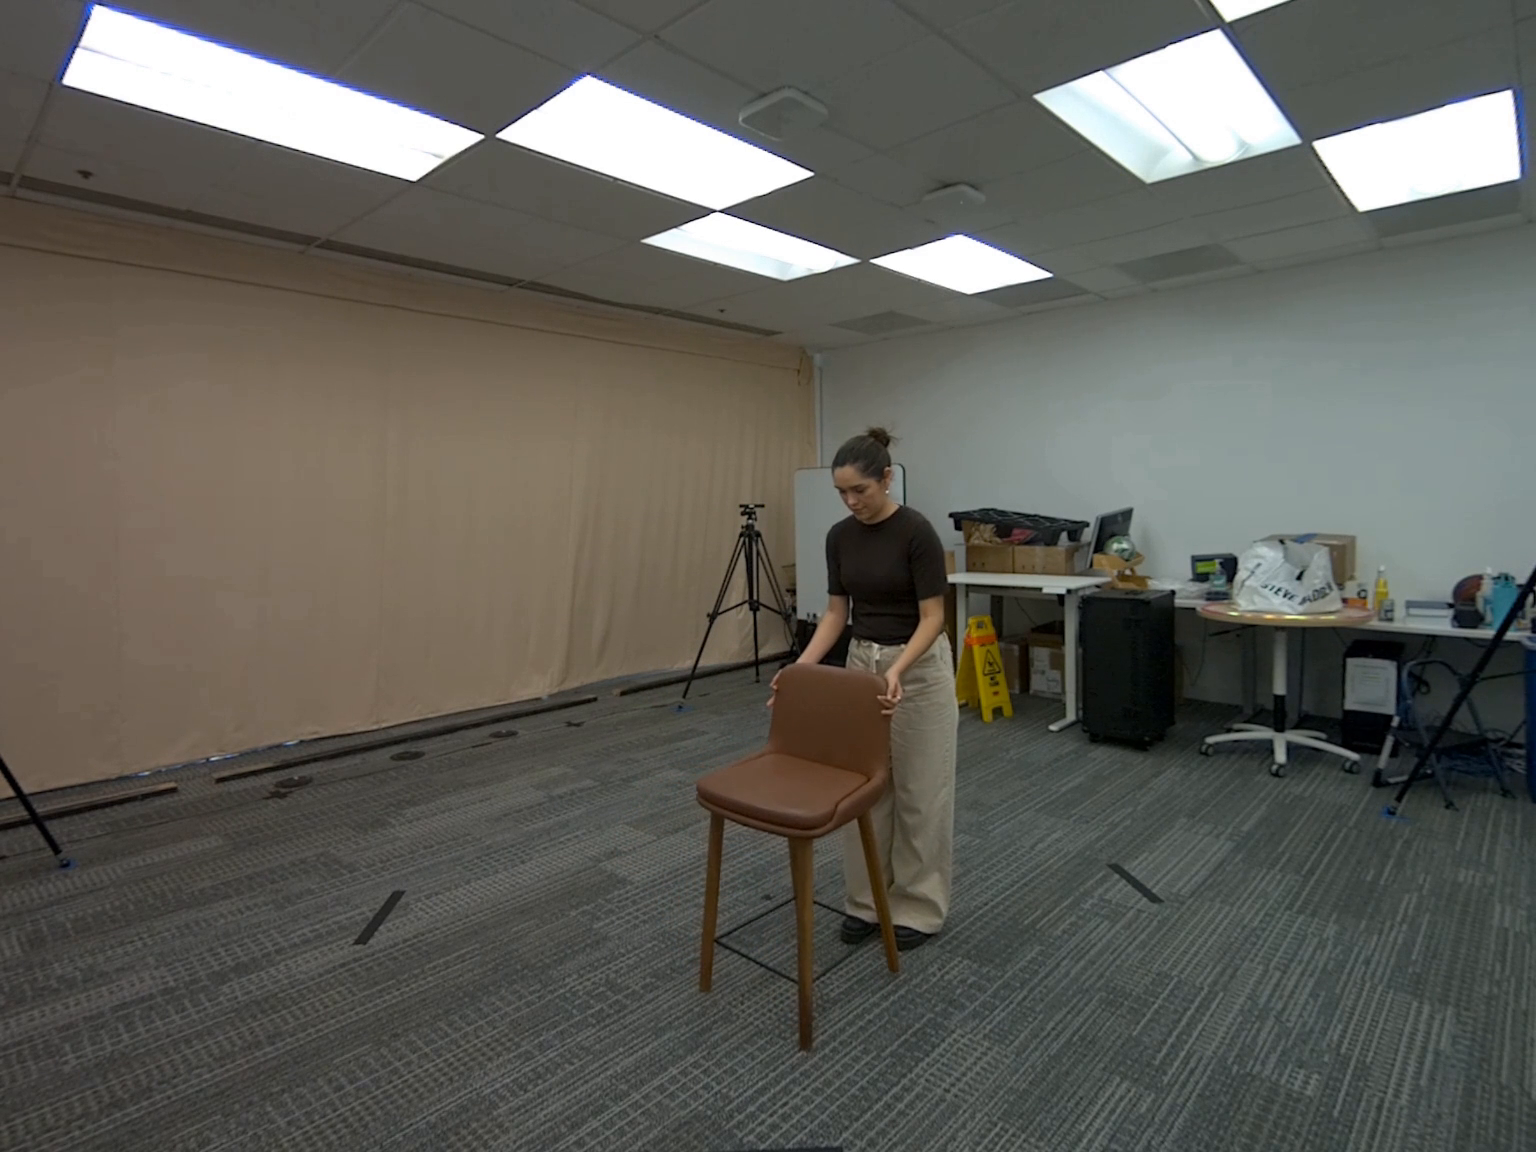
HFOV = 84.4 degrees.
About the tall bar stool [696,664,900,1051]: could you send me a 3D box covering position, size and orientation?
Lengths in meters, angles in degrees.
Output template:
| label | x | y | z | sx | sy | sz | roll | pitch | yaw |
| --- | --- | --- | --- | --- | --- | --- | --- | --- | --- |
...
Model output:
| label | x | y | z | sx | sy | sz | roll | pitch | yaw |
| --- | --- | --- | --- | --- | --- | --- | --- | --- | --- |
| tall bar stool | 0.090 | 0.736 | 2.401 | 0.471 | 0.888 | 0.453 | 2 | 5 | 45 |
